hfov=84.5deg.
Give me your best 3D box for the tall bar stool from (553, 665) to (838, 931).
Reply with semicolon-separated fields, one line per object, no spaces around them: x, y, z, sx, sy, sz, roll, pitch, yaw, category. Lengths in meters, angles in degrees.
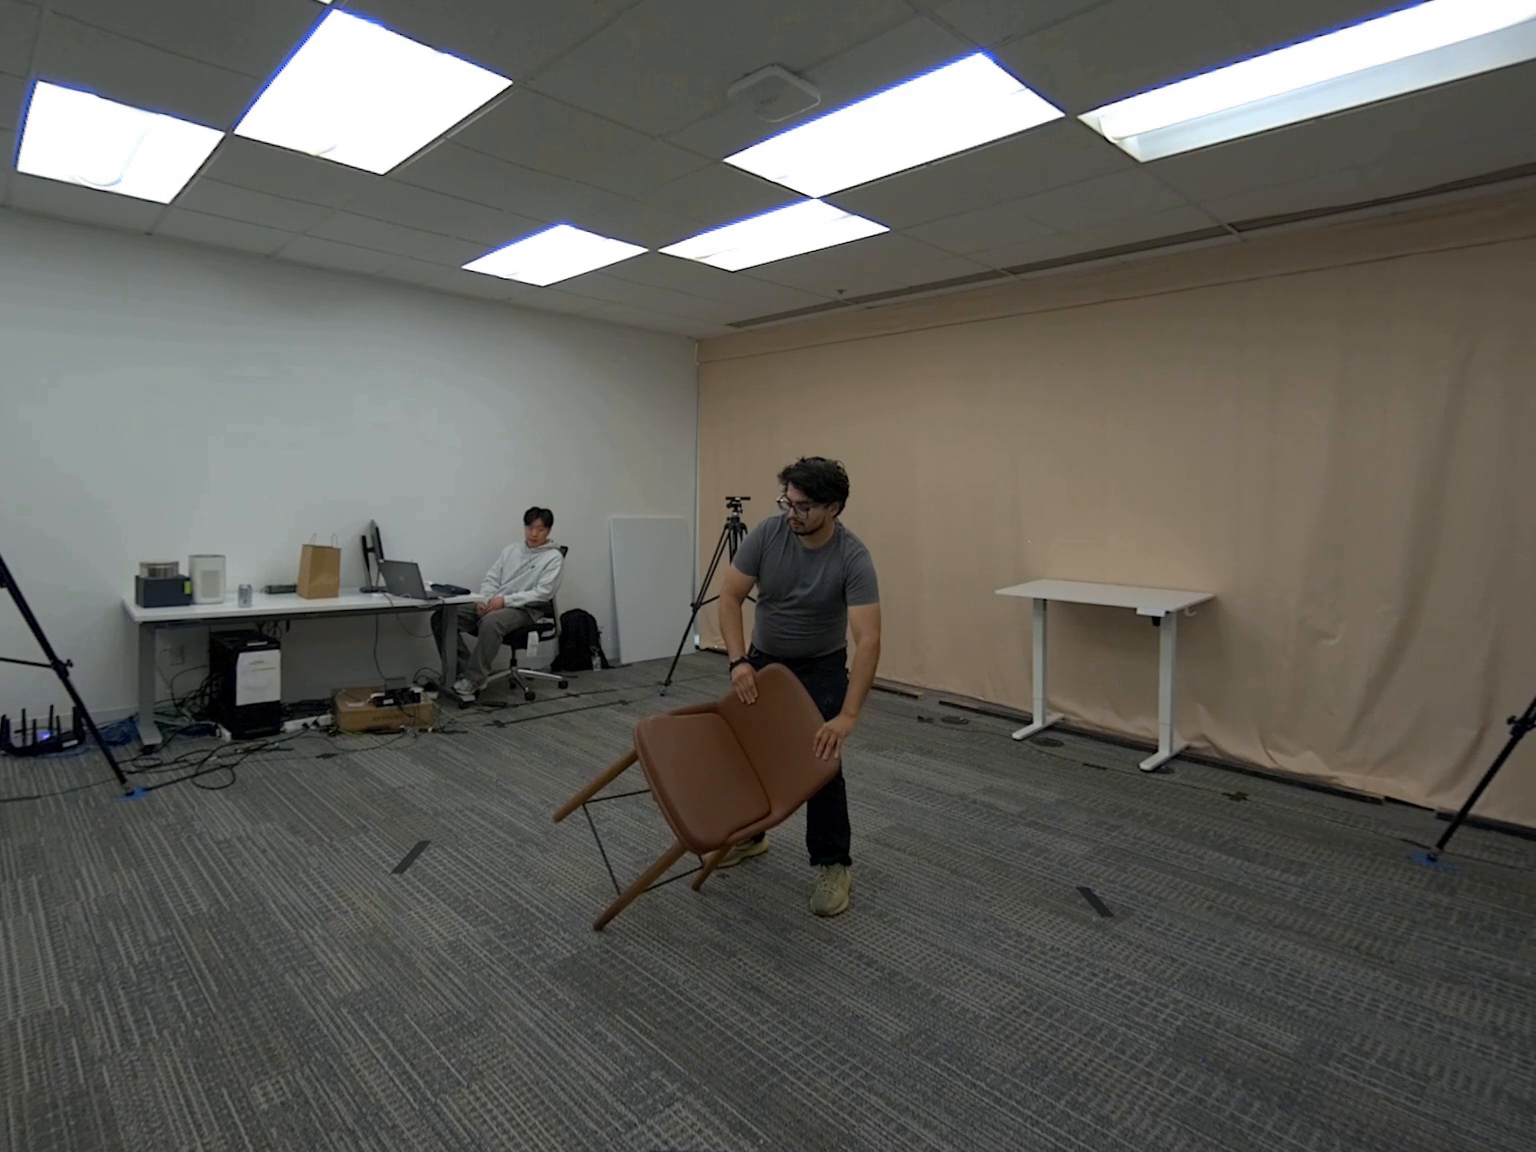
-0.253;0.706;2.702;0.456;0.468;0.888;2;-41;-46;tall bar stool
